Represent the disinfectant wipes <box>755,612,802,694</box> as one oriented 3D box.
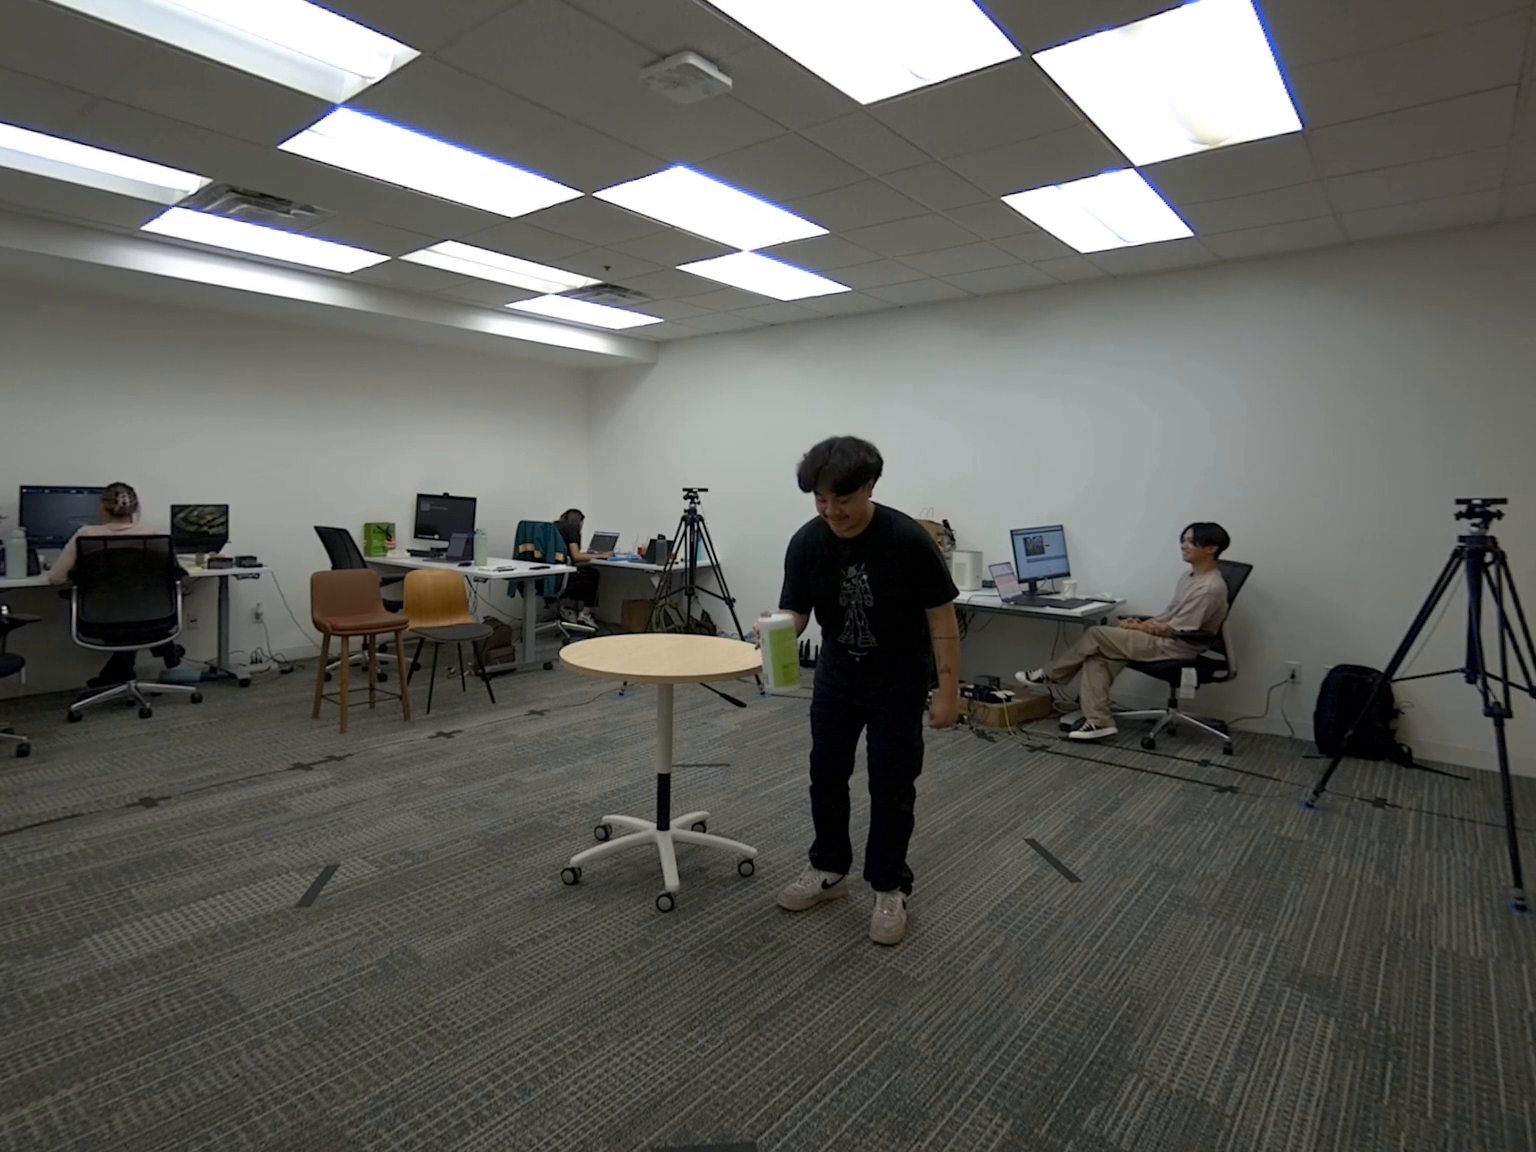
[{"bbox_3d":[0.027,0.232,2.458,0.118,0.217,0.118,-5,3,-1],"label":"disinfectant wipes"}]
